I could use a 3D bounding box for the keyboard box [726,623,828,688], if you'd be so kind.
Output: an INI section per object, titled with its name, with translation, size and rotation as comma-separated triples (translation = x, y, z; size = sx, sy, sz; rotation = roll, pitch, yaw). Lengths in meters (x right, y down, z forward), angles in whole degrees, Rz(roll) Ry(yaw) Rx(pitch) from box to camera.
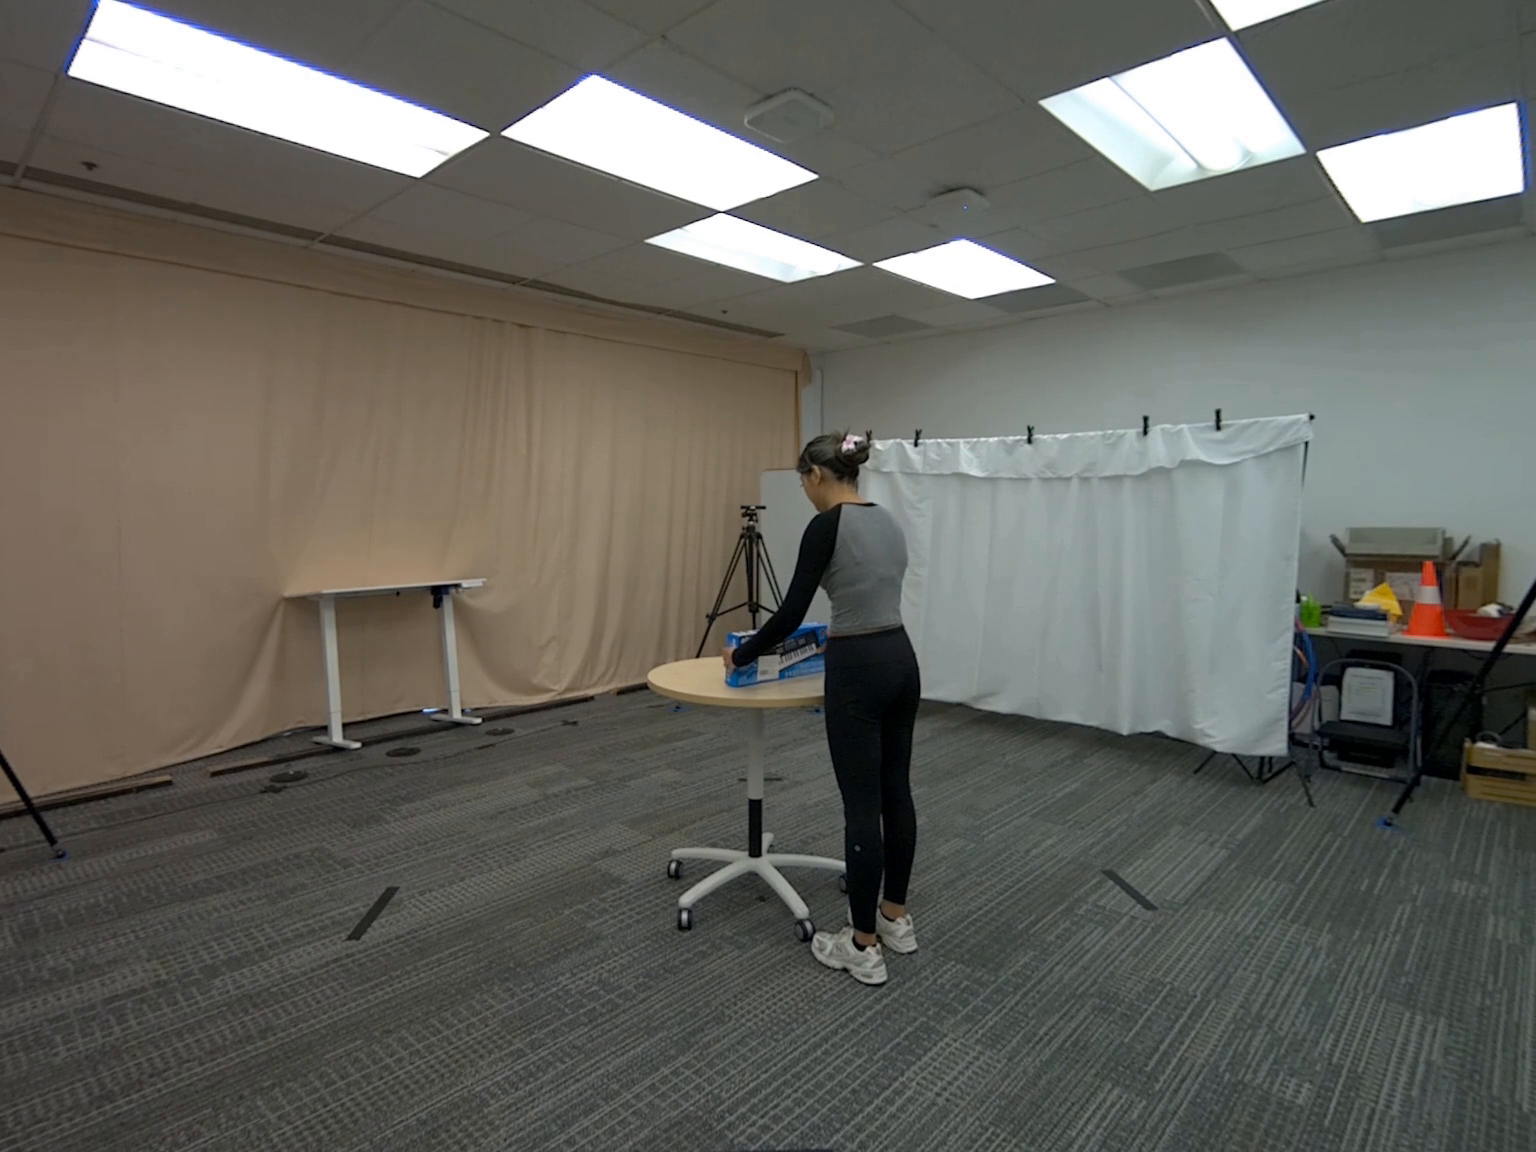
[keyboard box]
translation = 0.038, 0.271, 2.924
size = 0.423, 0.175, 0.061
rotation = -4, 6, -42
